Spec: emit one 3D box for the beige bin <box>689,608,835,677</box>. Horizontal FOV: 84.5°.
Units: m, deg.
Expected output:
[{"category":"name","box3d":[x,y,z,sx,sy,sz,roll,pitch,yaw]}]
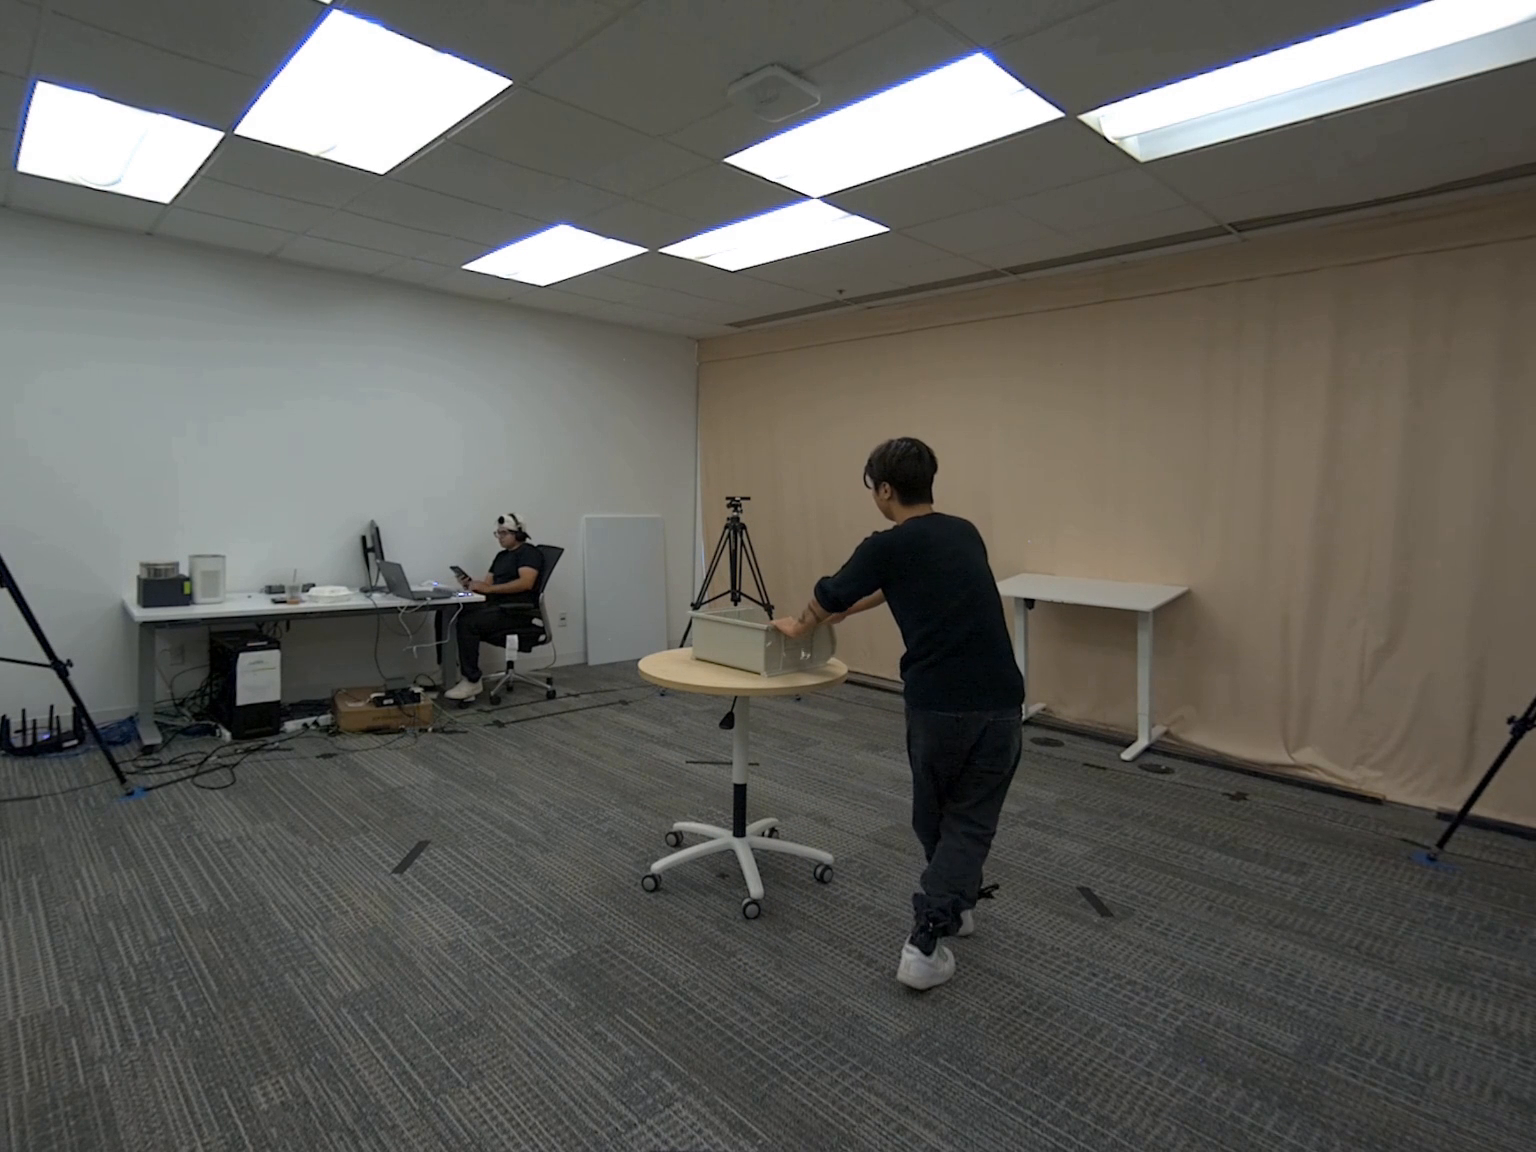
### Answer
[{"category":"beige bin","box3d":[-0.028,0.230,3.138,0.369,0.188,0.433,-7,10,-44]}]
